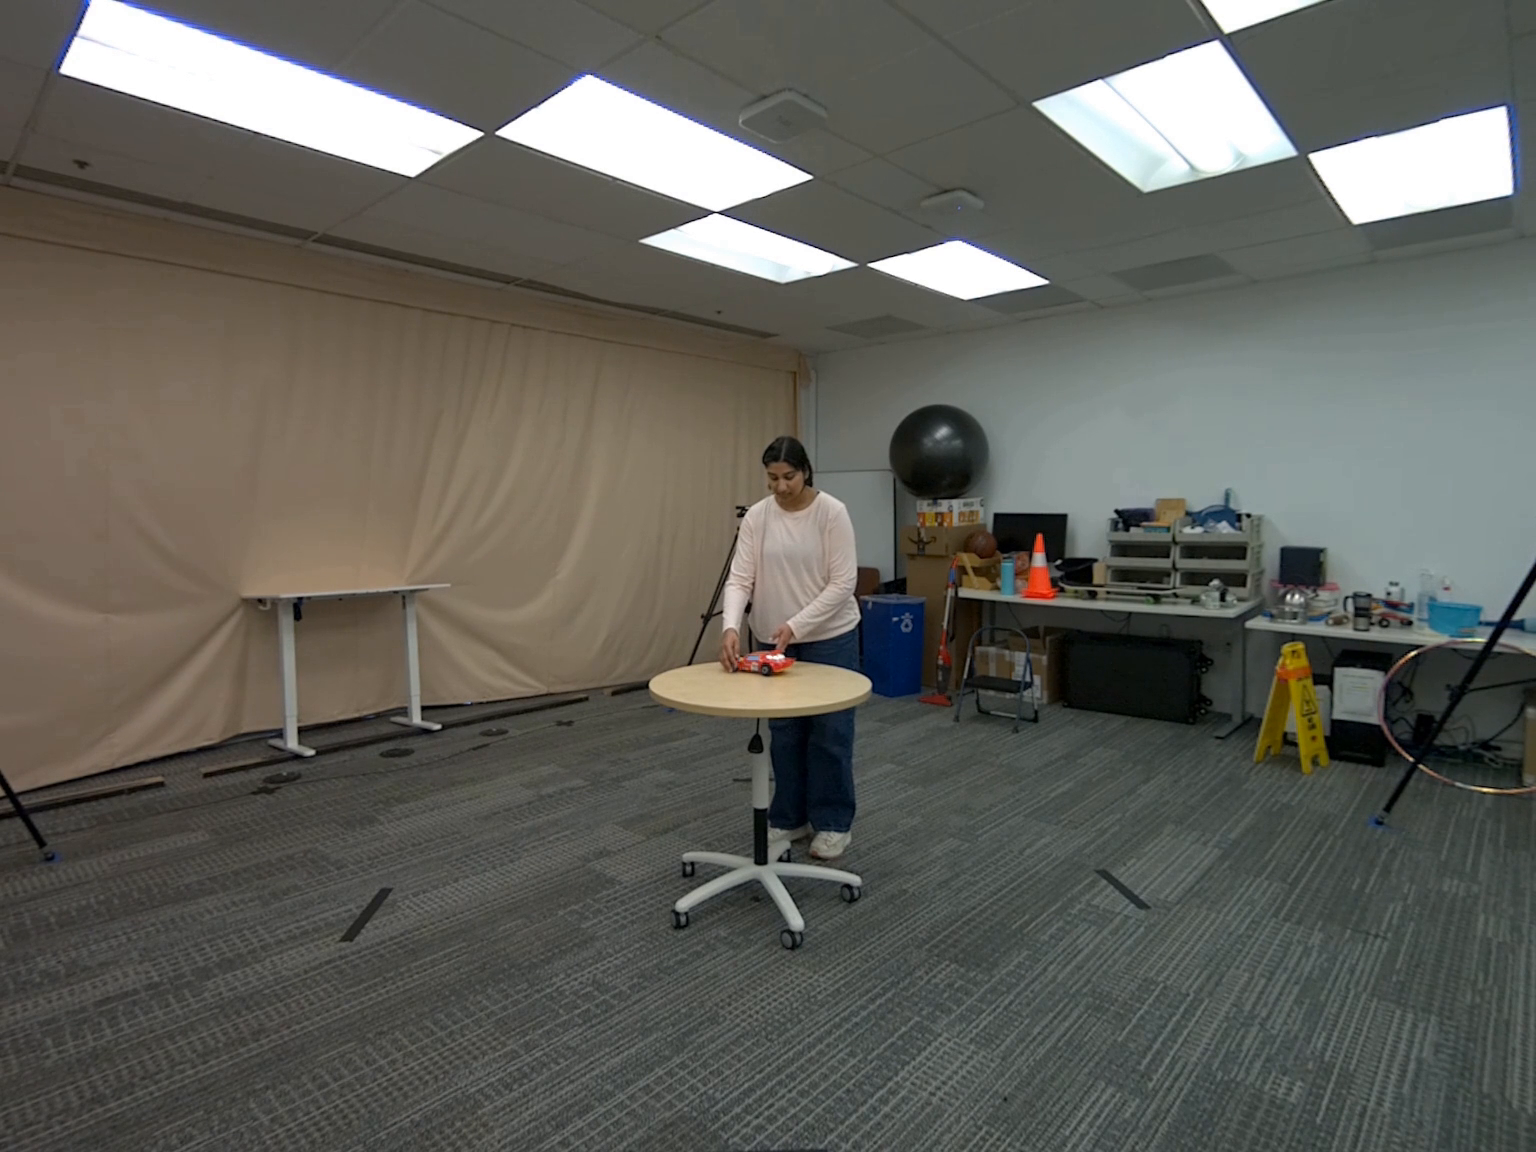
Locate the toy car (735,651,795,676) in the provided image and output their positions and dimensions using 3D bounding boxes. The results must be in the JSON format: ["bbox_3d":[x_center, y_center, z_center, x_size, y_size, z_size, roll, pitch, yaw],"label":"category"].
[{"bbox_3d":[-0.019,0.322,3.068,0.261,0.083,0.126,-11,-2,36],"label":"toy car"}]
